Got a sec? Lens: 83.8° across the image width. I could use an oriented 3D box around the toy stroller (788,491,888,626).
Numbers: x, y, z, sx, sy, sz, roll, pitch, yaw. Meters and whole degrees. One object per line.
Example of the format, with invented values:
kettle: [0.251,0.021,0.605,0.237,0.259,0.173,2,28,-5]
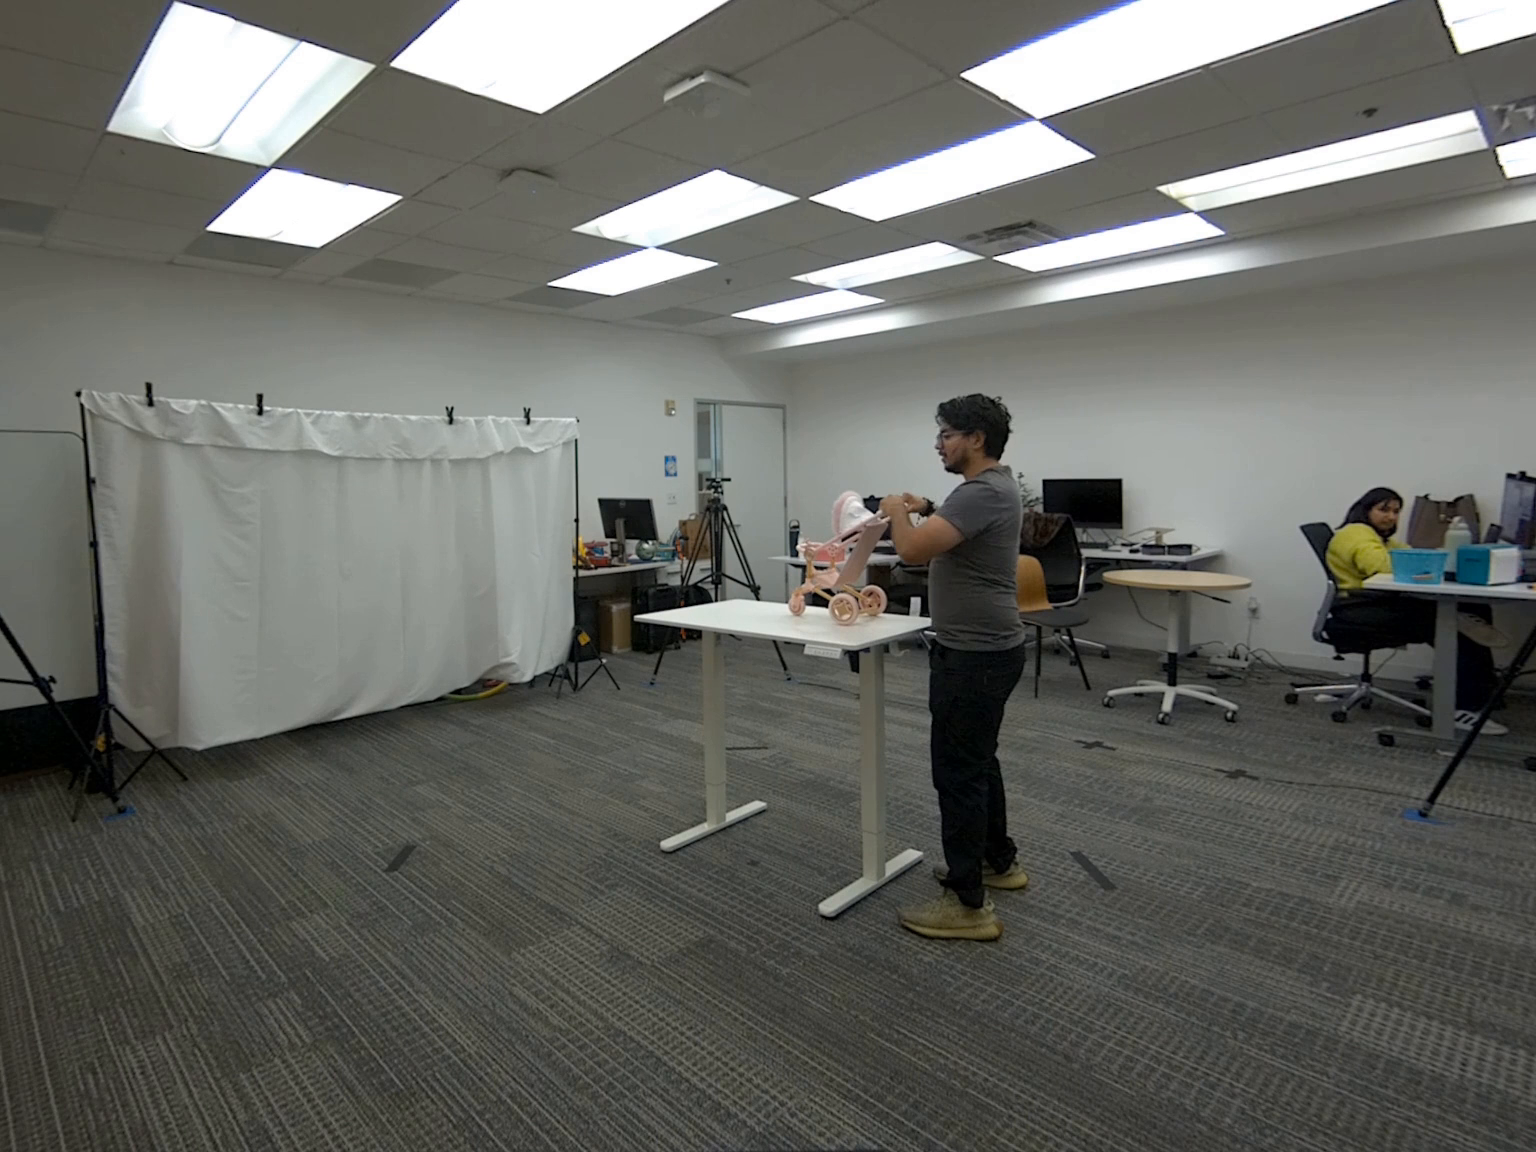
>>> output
toy stroller: [0.273,-0.065,3.061,0.353,0.530,0.274,22,16,34]
